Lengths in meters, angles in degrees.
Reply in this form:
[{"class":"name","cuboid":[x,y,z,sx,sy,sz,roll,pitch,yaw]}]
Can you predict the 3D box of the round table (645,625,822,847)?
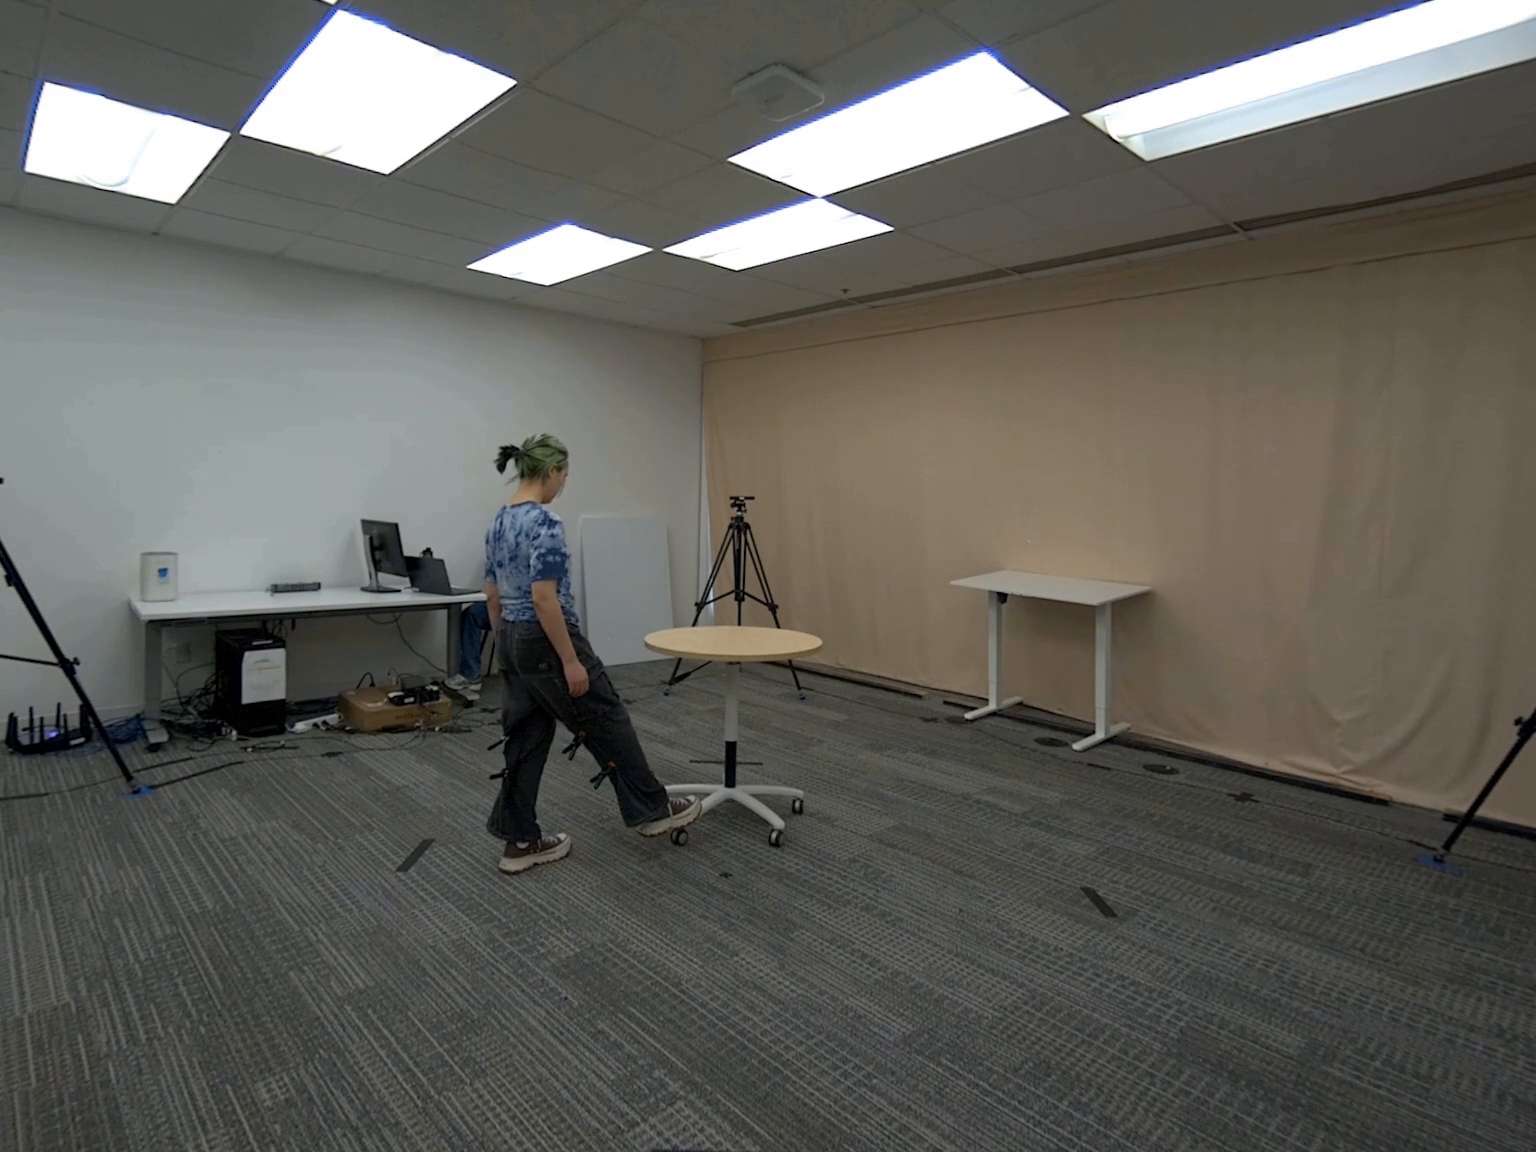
[{"class":"round table","cuboid":[-0.169,0.669,3.642,0.763,0.792,0.766,1,4,-1]}]
